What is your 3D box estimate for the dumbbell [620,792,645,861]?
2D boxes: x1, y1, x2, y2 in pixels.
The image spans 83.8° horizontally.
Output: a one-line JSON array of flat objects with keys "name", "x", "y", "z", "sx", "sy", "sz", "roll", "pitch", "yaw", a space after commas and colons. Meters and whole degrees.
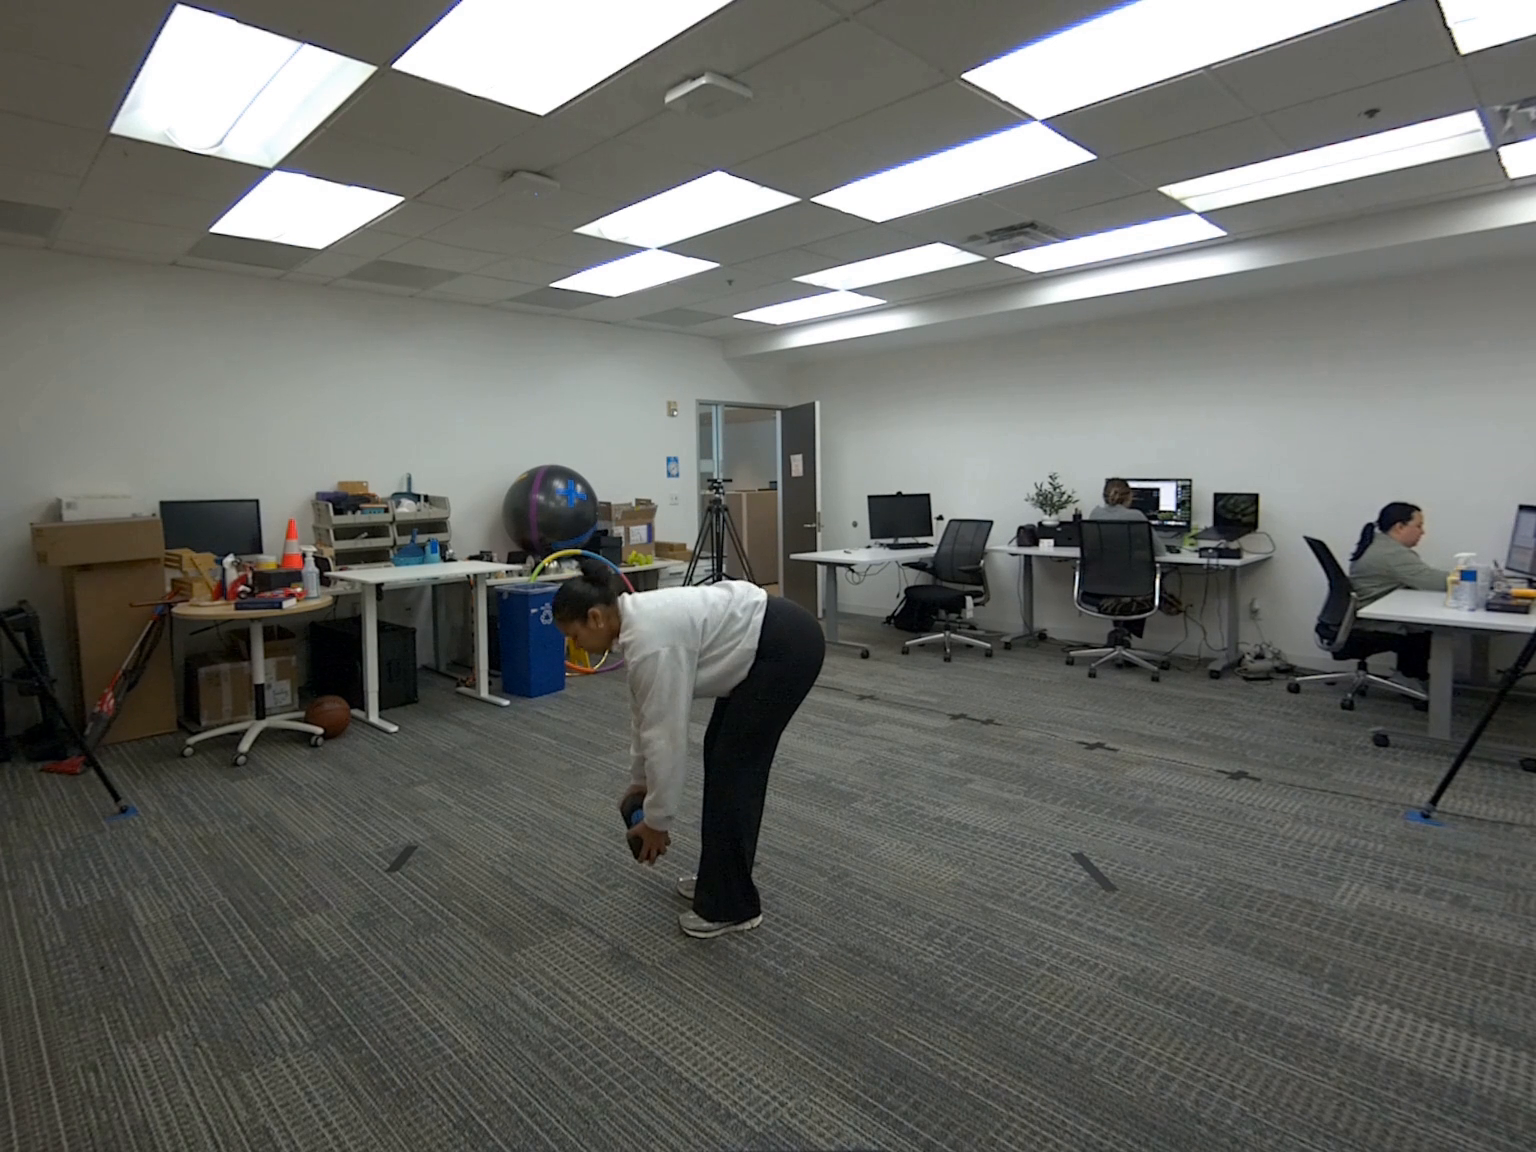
[{"name": "dumbbell", "x": -0.392, "y": 0.794, "z": 2.726, "sx": 0.107, "sy": 0.123, "sz": 0.299, "roll": 36, "pitch": -2, "yaw": -16}]
